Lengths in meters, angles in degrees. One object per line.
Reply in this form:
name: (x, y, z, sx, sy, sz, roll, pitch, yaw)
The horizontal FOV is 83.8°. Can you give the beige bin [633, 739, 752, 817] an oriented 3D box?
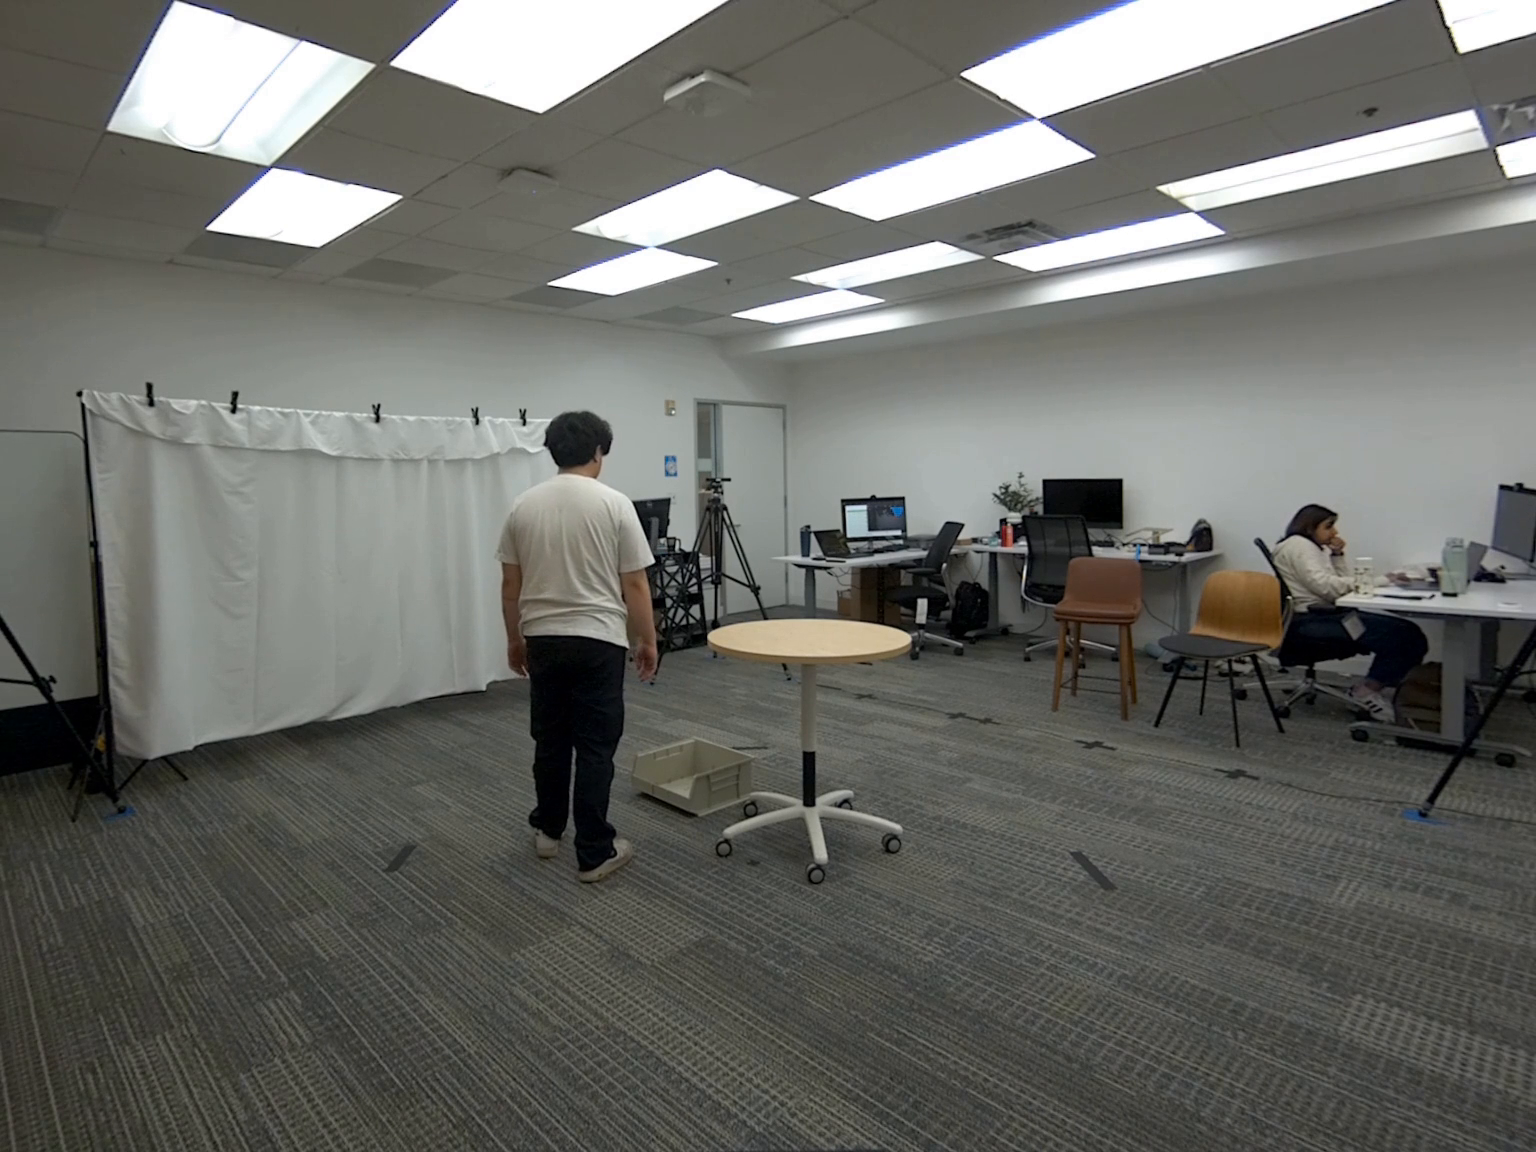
beige bin: (-0.331, 0.884, 3.774, 0.367, 0.188, 0.435, -5, 7, -43)
